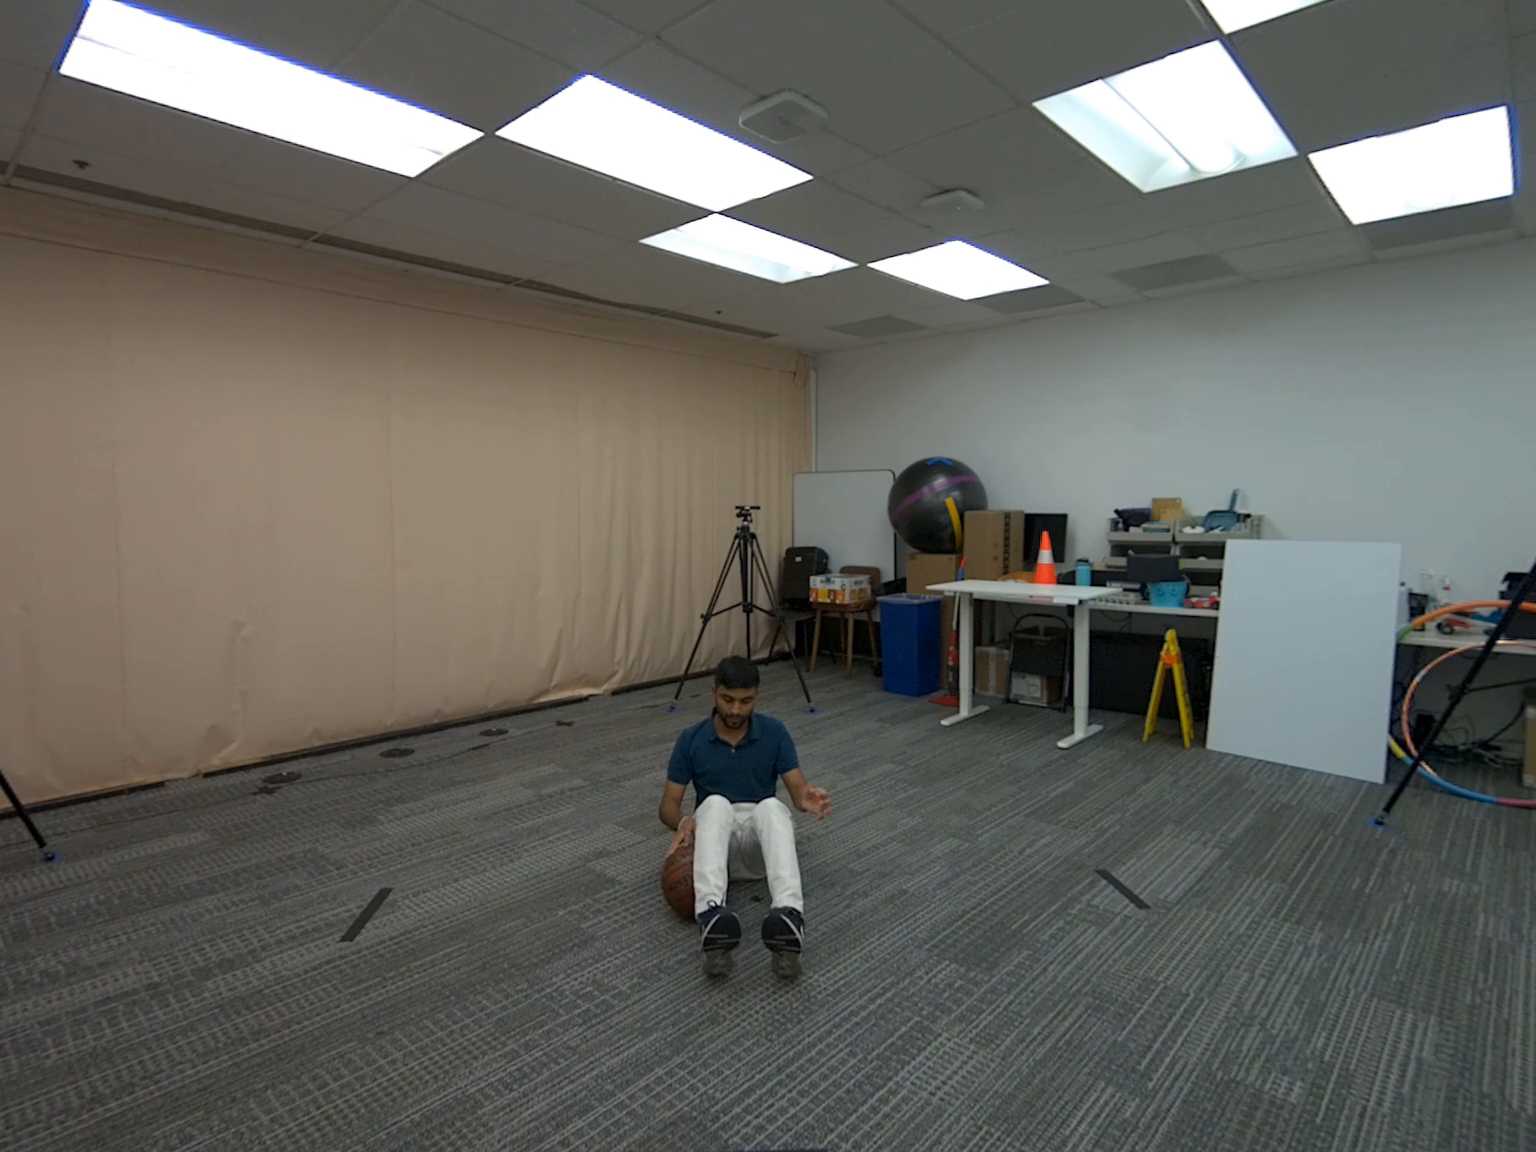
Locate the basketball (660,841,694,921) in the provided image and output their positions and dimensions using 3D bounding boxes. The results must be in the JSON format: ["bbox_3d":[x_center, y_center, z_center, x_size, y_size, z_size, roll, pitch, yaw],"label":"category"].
[{"bbox_3d":[-0.241,1.033,2.876,0.236,0.235,0.237,0,4,-2],"label":"basketball"}]
